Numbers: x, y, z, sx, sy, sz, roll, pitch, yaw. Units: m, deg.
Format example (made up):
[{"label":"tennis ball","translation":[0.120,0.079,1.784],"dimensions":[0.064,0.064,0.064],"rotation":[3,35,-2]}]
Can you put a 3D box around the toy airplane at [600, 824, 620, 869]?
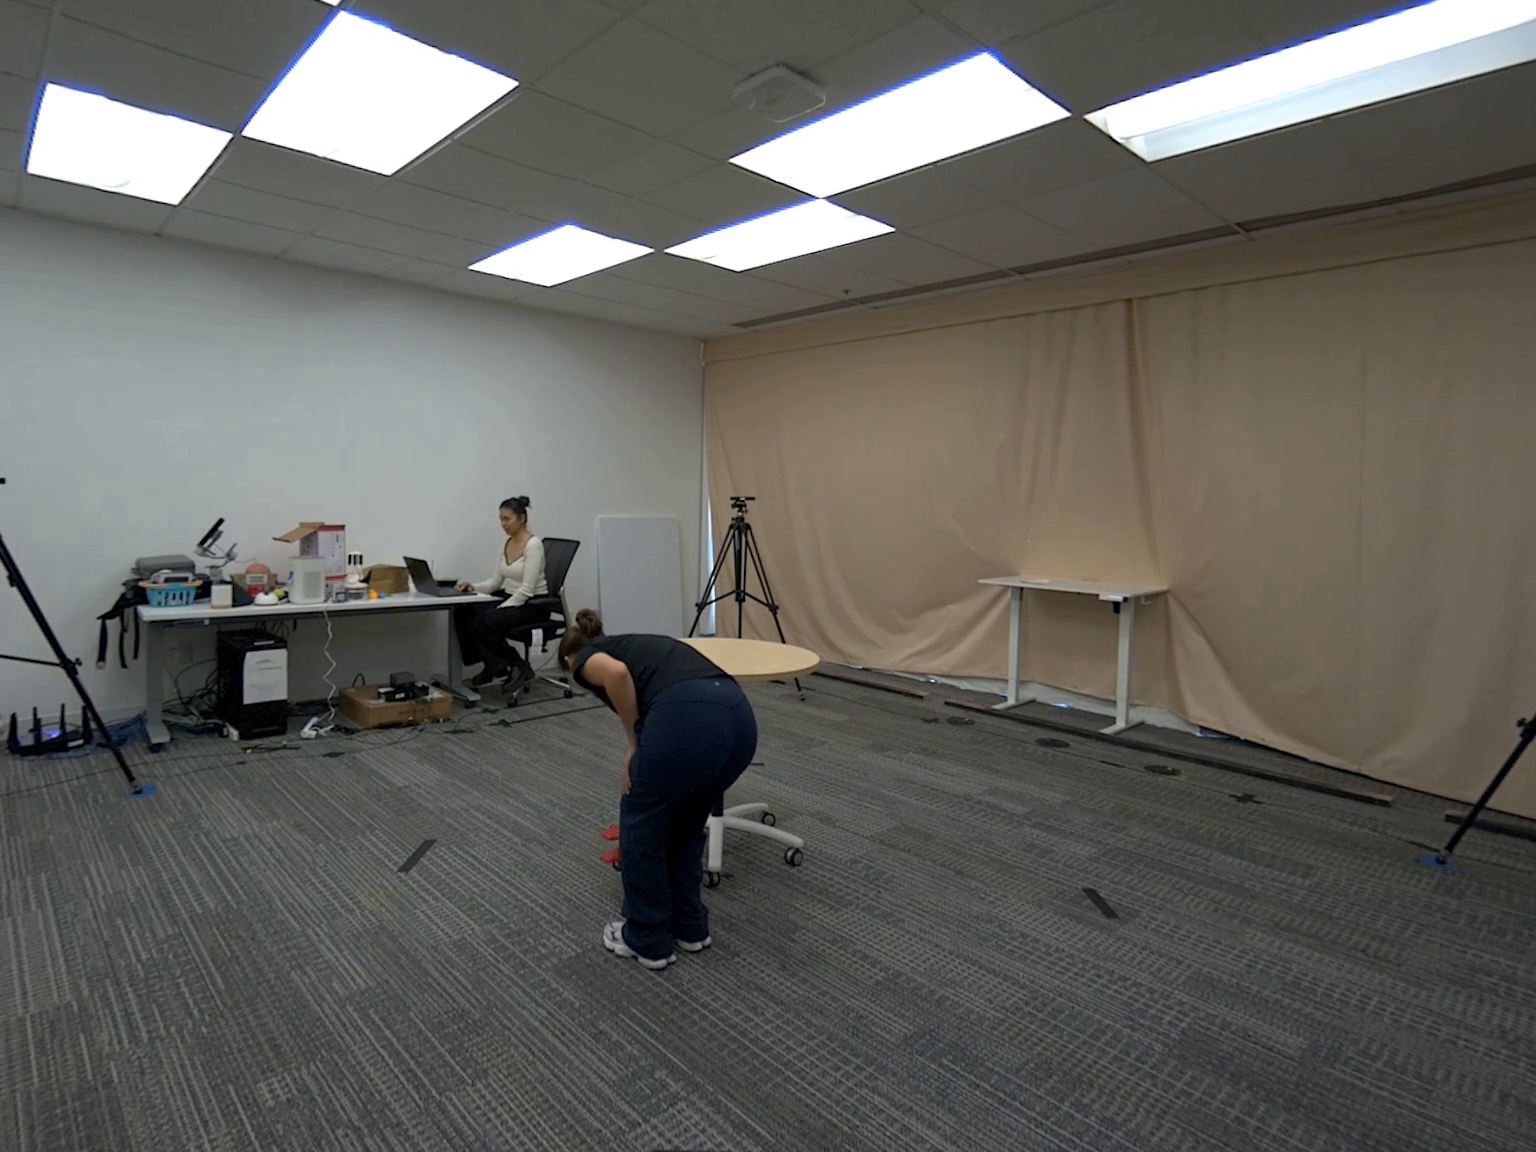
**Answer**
[{"label":"toy airplane","translation":[-0.430,0.945,2.907],"dimensions":[0.262,0.158,0.246],"rotation":[-10,-9,20]}]
